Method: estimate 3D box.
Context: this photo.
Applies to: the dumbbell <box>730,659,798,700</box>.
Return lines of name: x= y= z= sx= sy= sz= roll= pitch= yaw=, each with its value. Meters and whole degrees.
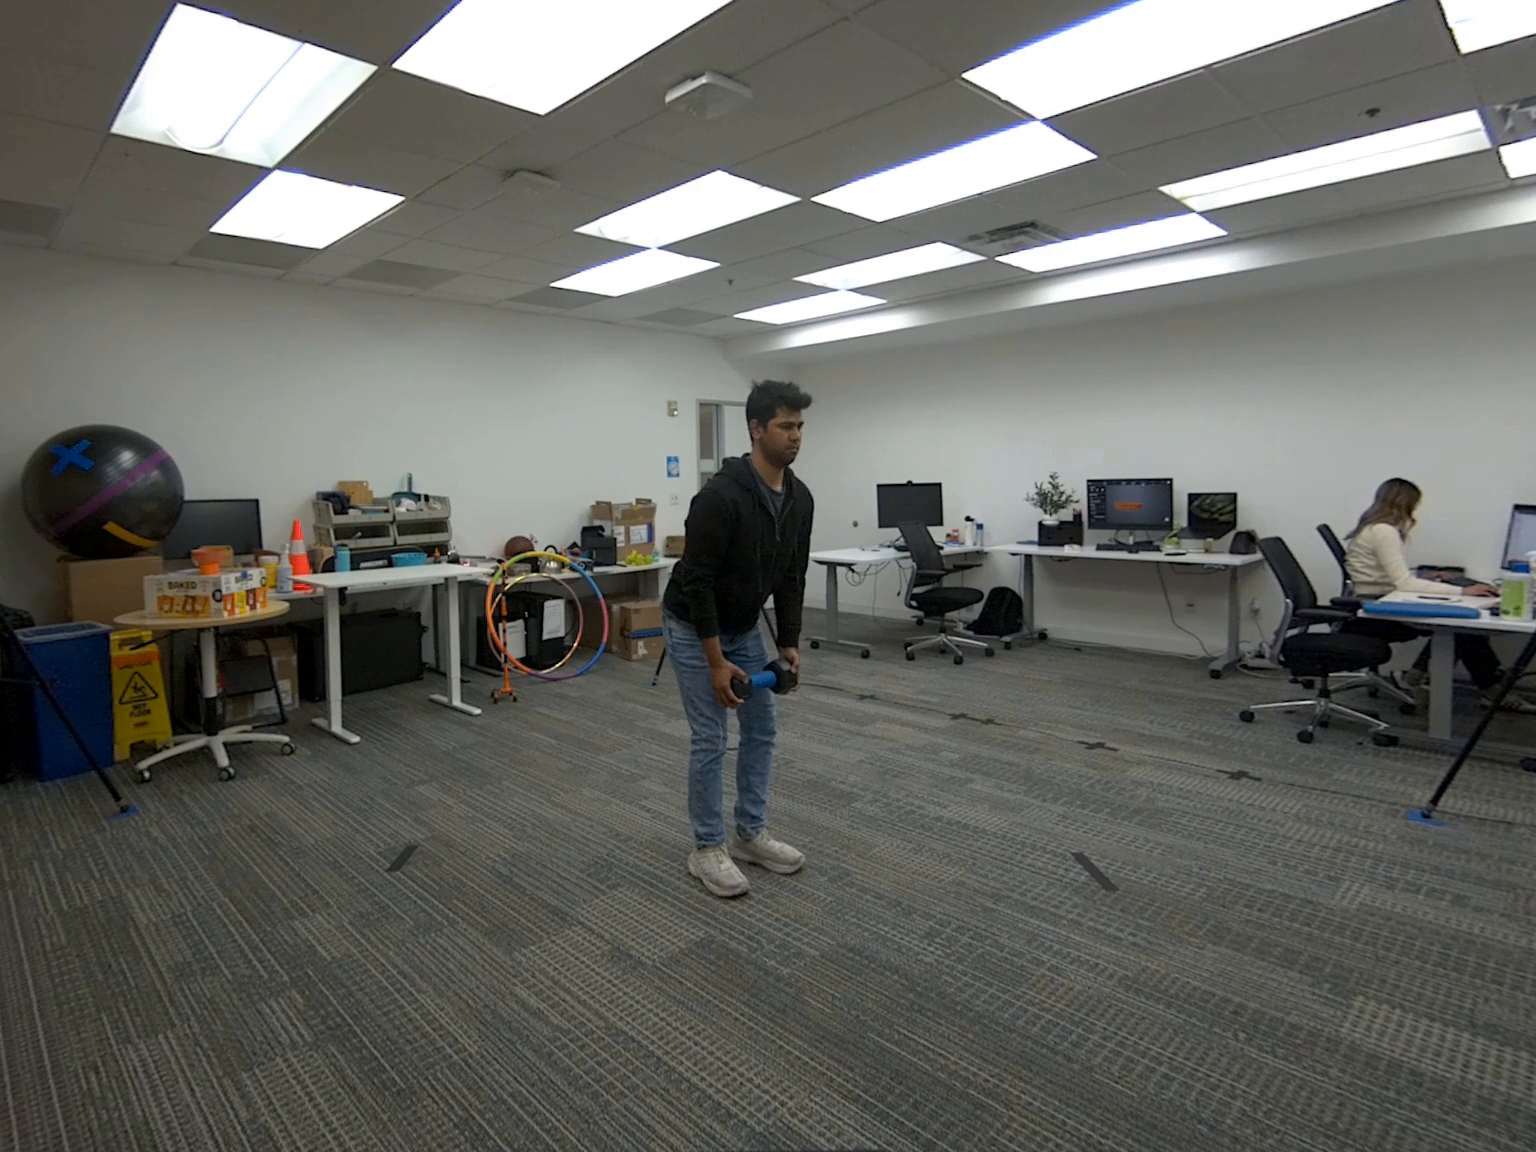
dumbbell: x=-0.040 y=0.367 z=2.950 sx=0.286 sy=0.111 sz=0.123 roll=-10 pitch=-19 yaw=-40
